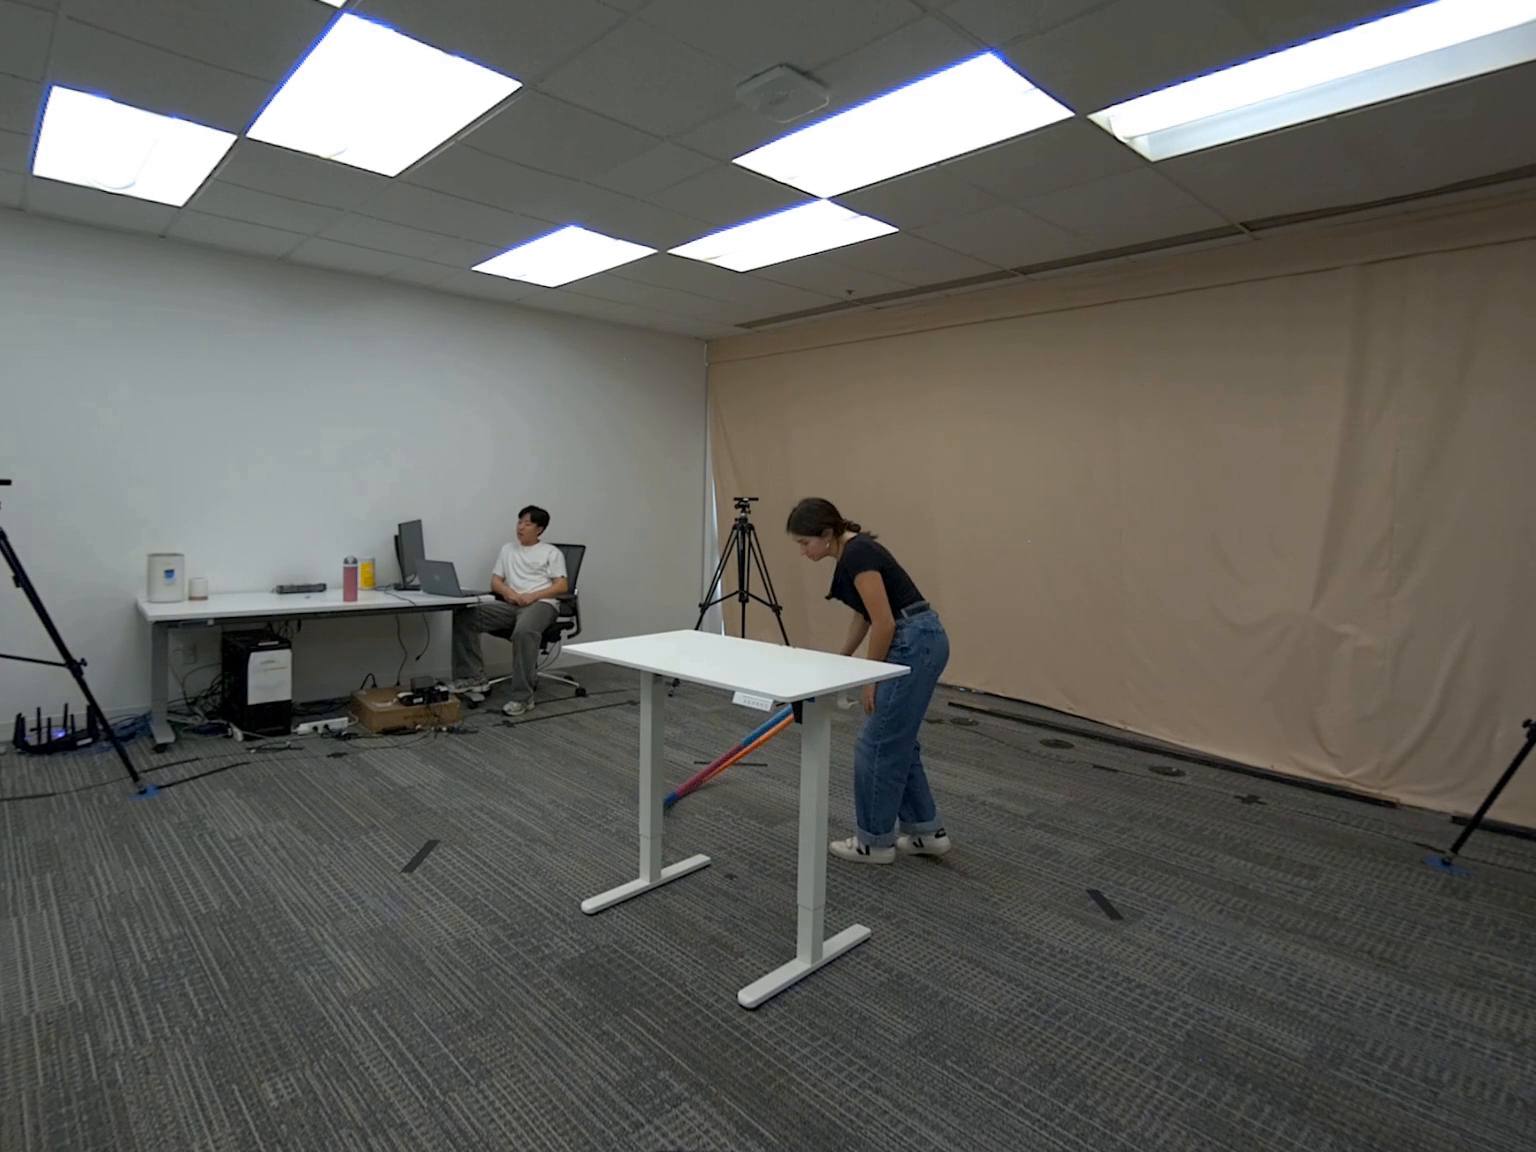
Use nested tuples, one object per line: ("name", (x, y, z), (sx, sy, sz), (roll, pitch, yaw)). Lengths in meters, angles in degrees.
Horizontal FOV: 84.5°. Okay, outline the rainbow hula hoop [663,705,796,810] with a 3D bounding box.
("rainbow hula hoop", (-0.083, 0.736, 3.736), (0.976, 0.036, 0.968), (-34, -11, -10))
